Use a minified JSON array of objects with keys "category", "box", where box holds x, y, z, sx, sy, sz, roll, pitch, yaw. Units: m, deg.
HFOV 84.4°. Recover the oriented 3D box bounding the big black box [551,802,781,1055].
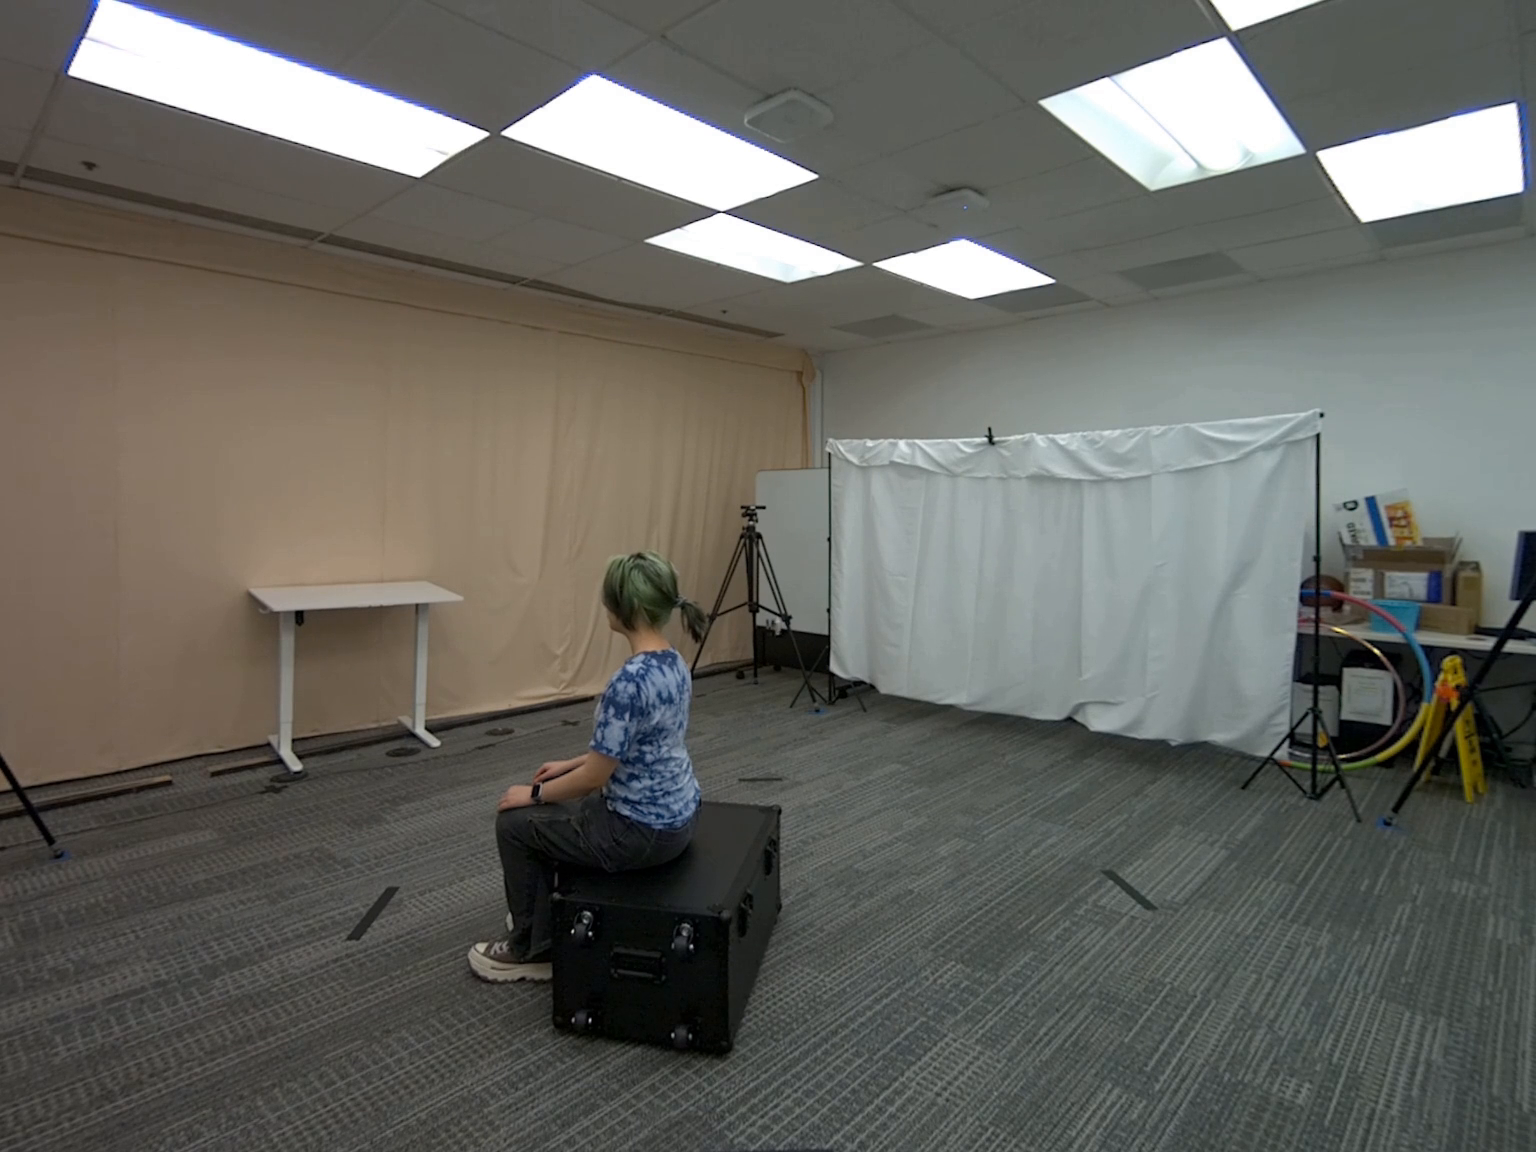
[{"category":"big black box","box":[-0.264,0.996,2.495,0.528,0.395,0.852,1,4,11]}]
